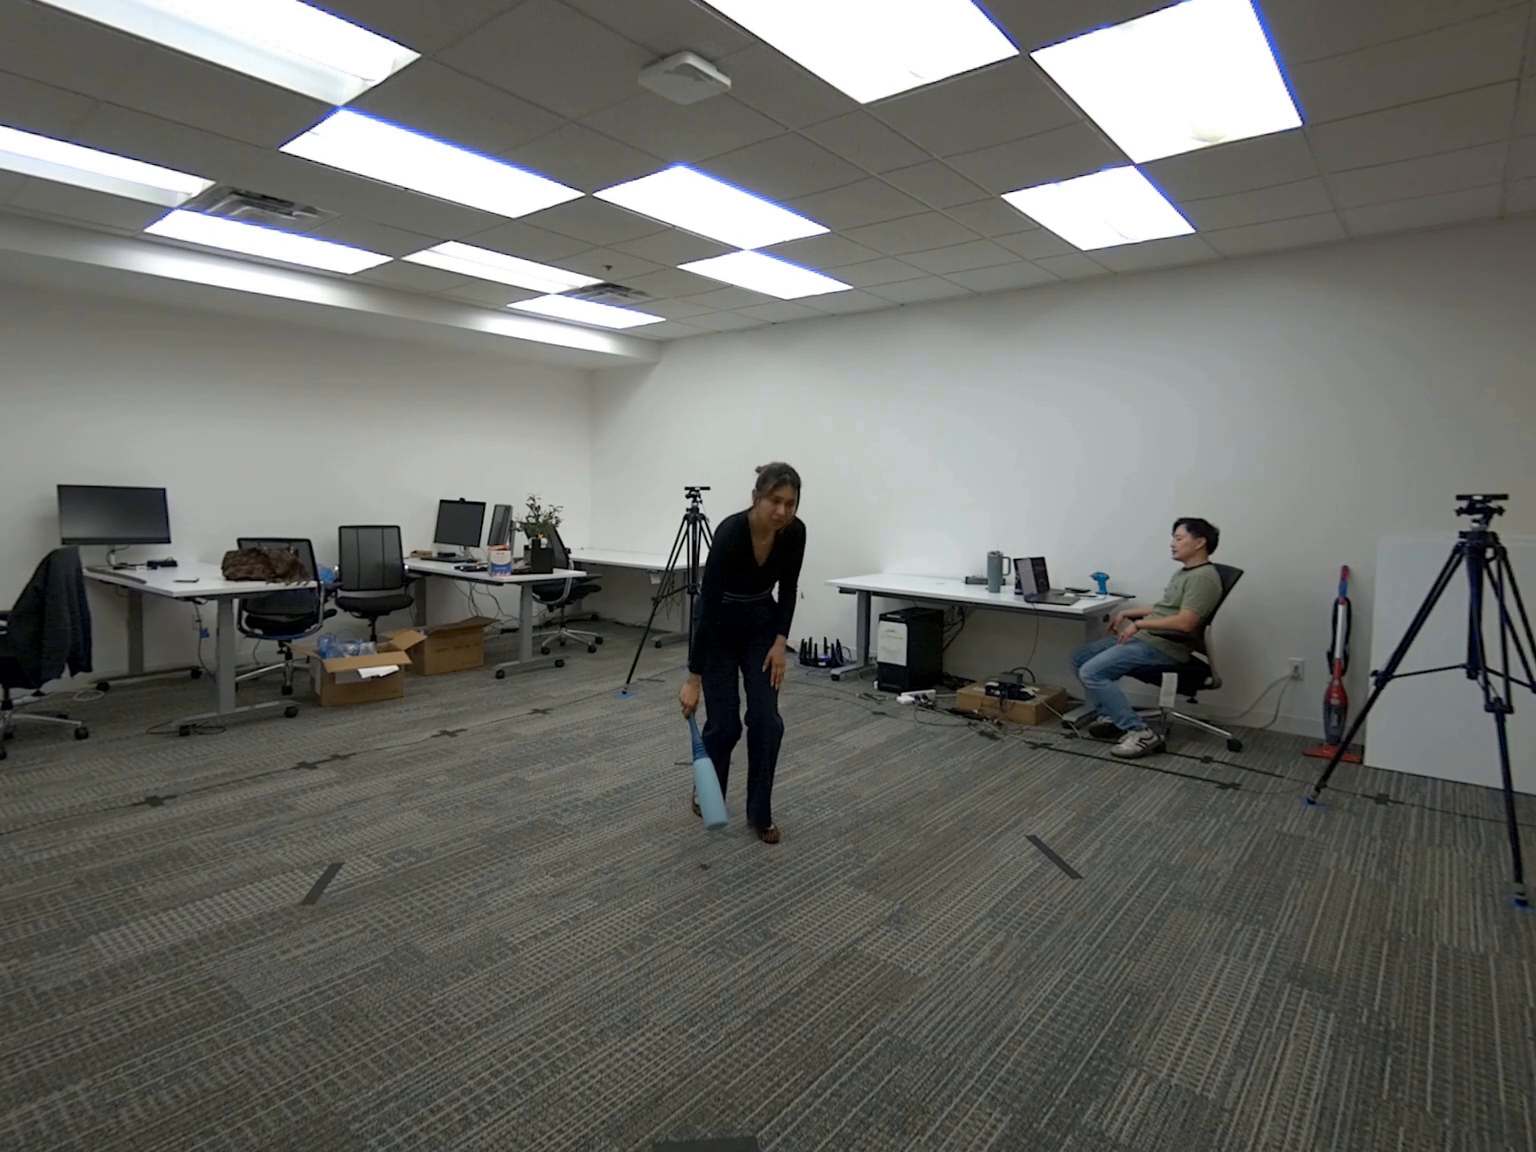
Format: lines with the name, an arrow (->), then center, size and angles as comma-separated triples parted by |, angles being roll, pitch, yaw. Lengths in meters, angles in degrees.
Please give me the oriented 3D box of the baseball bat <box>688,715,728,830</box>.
baseball bat -> -0.253, 0.677, 3.166 | 0.088, 0.562, 0.087 | -13, -34, -10
